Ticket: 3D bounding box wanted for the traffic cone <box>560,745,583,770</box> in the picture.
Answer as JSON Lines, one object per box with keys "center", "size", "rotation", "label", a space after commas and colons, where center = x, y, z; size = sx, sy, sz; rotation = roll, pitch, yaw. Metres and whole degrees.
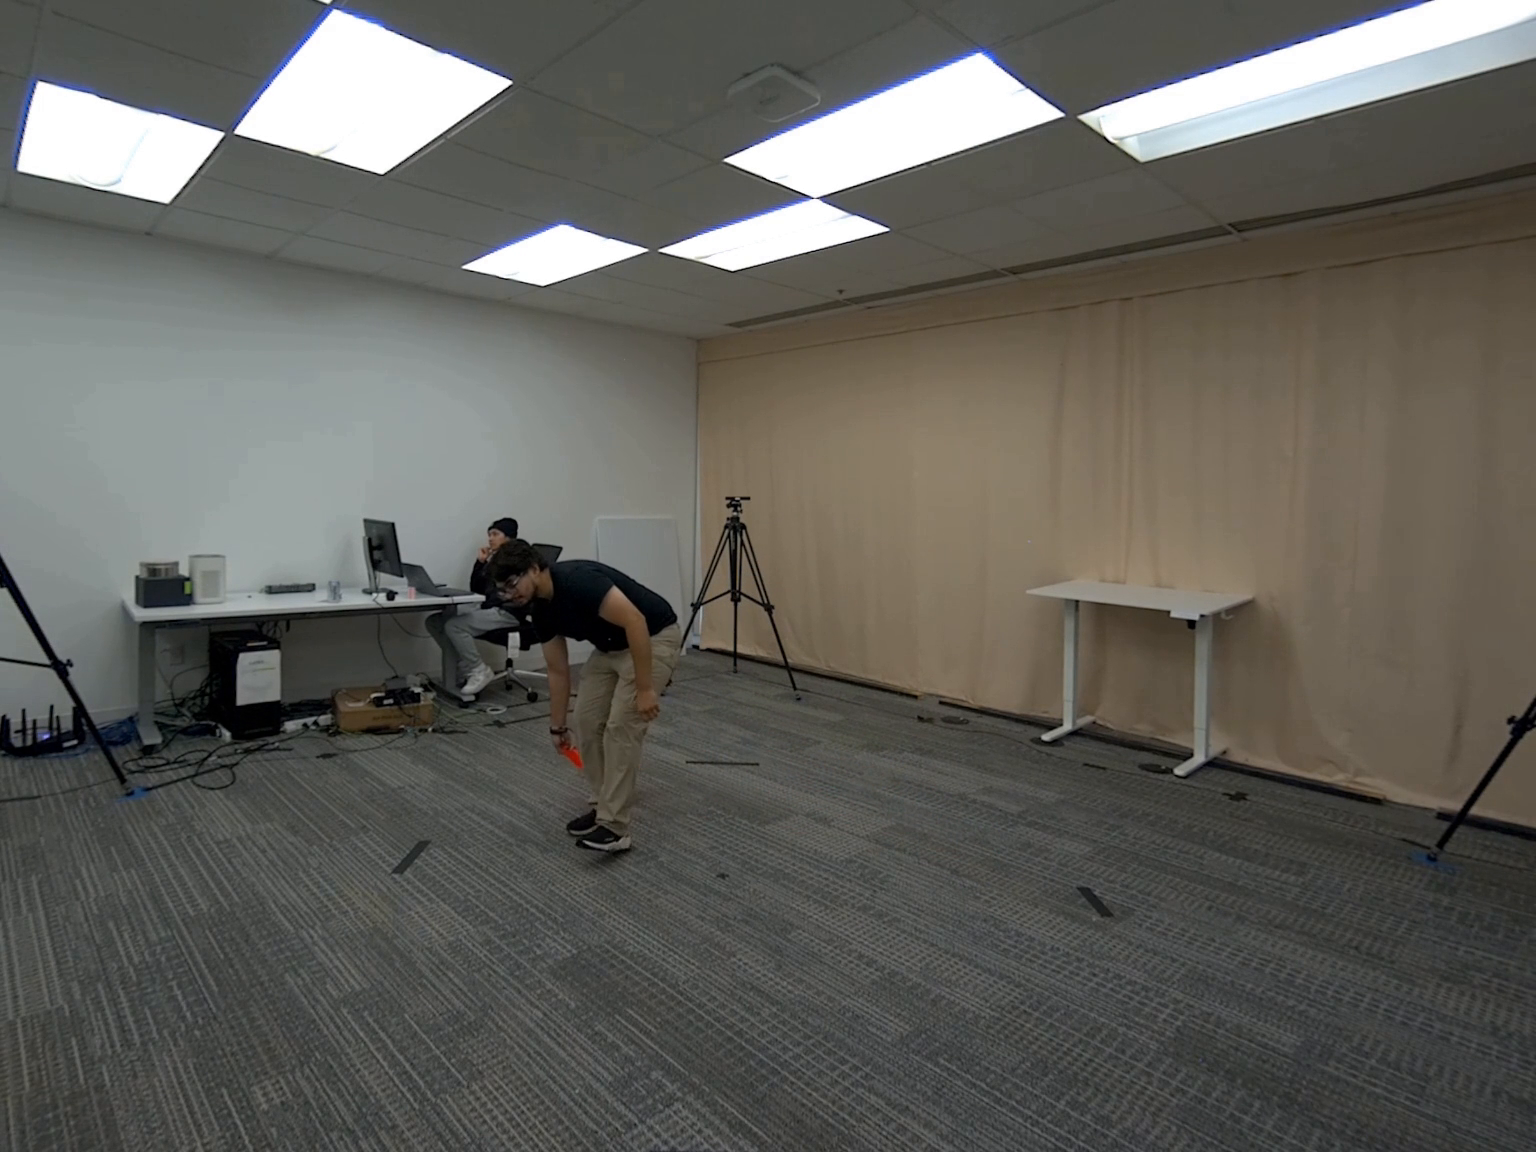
{"center": [-0.809, 0.857, 3.763], "size": [0.209, 0.206, 0.371], "rotation": [9, -28, 37], "label": "traffic cone"}
